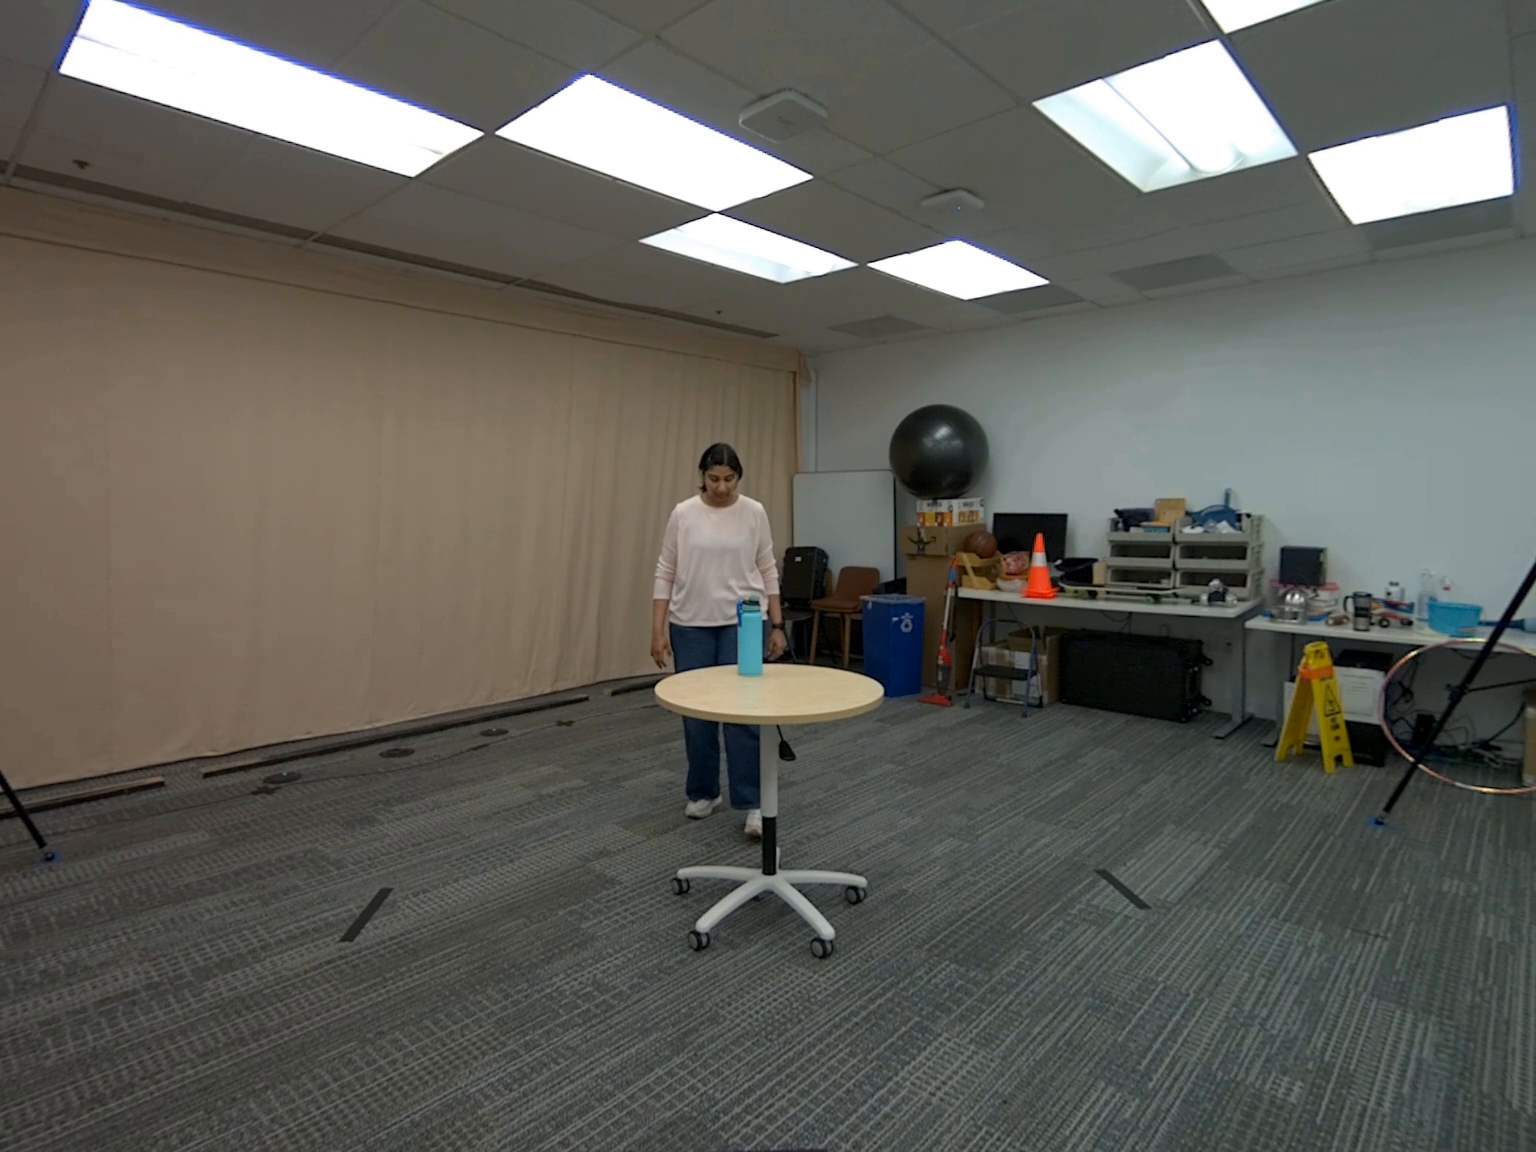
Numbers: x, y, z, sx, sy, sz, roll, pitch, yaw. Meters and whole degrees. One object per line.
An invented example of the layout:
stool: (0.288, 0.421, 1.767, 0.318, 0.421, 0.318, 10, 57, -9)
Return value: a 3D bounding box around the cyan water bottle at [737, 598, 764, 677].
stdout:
cyan water bottle: (-0.068, 0.216, 3.039, 0.092, 0.283, 0.092, -2, 3, -2)
